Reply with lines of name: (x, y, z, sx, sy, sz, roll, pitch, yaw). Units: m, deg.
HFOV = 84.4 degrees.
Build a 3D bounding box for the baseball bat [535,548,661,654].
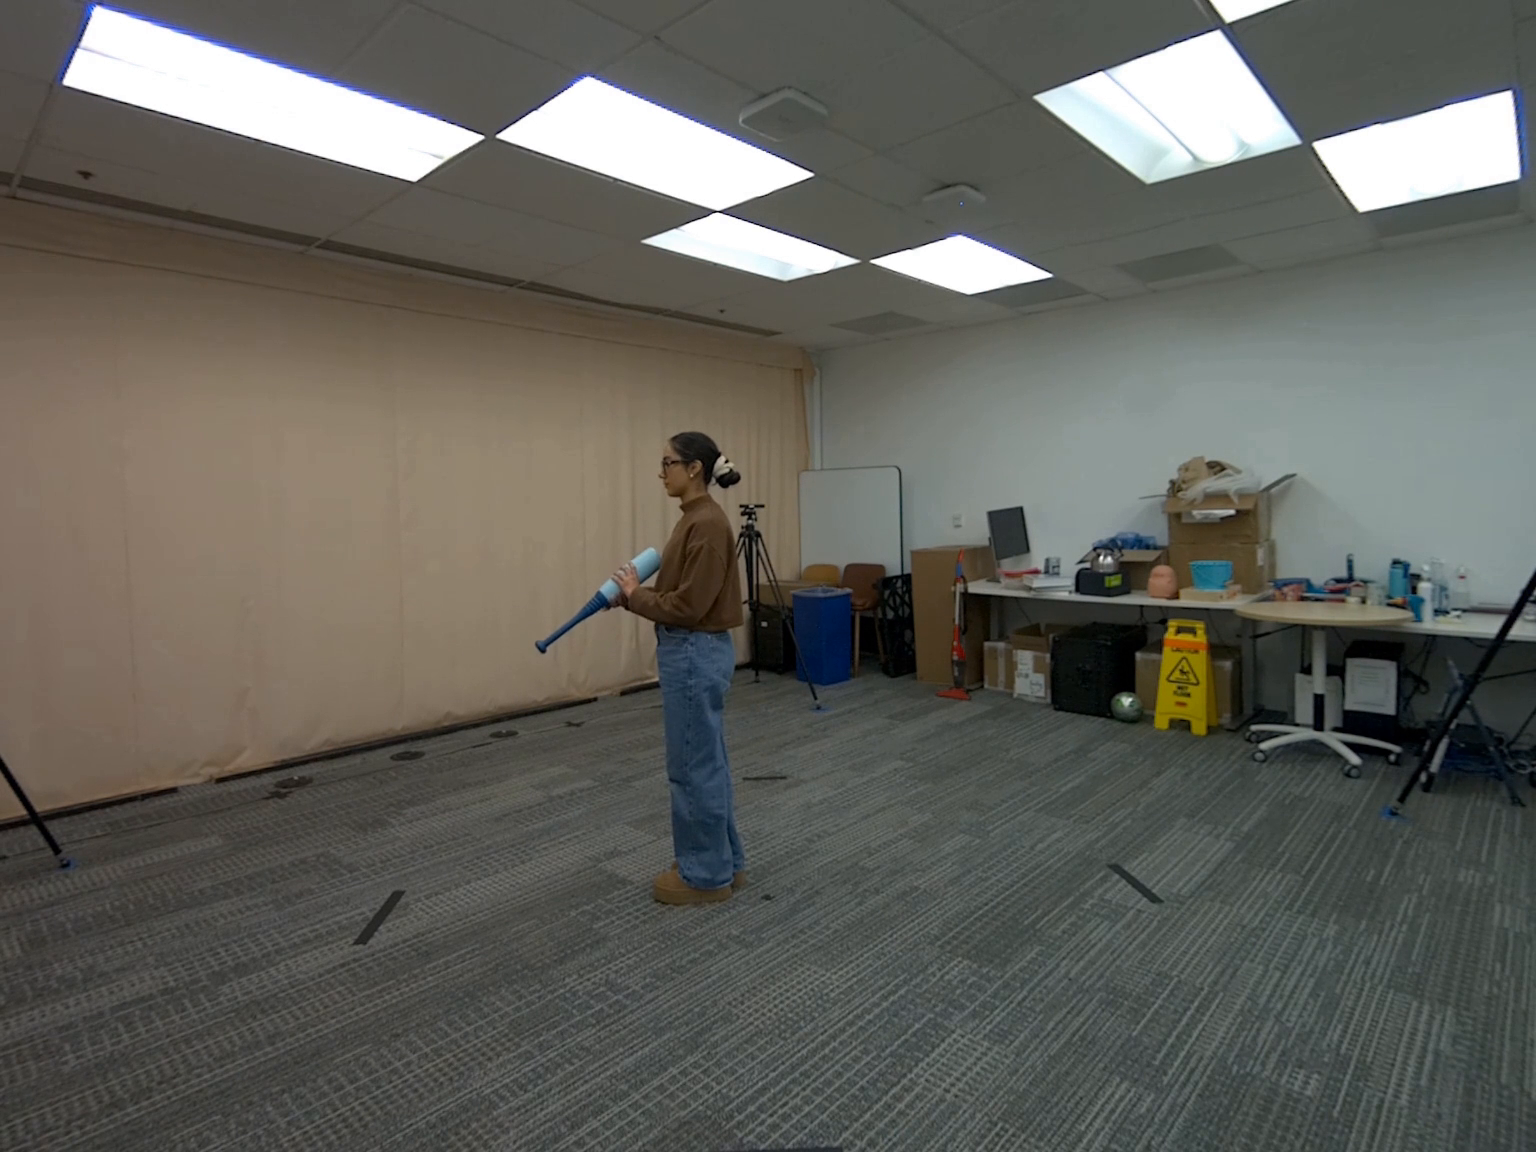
baseball bat: (-0.596, 0.095, 2.997, 0.540, 0.088, 0.091, -41, 14, -11)
